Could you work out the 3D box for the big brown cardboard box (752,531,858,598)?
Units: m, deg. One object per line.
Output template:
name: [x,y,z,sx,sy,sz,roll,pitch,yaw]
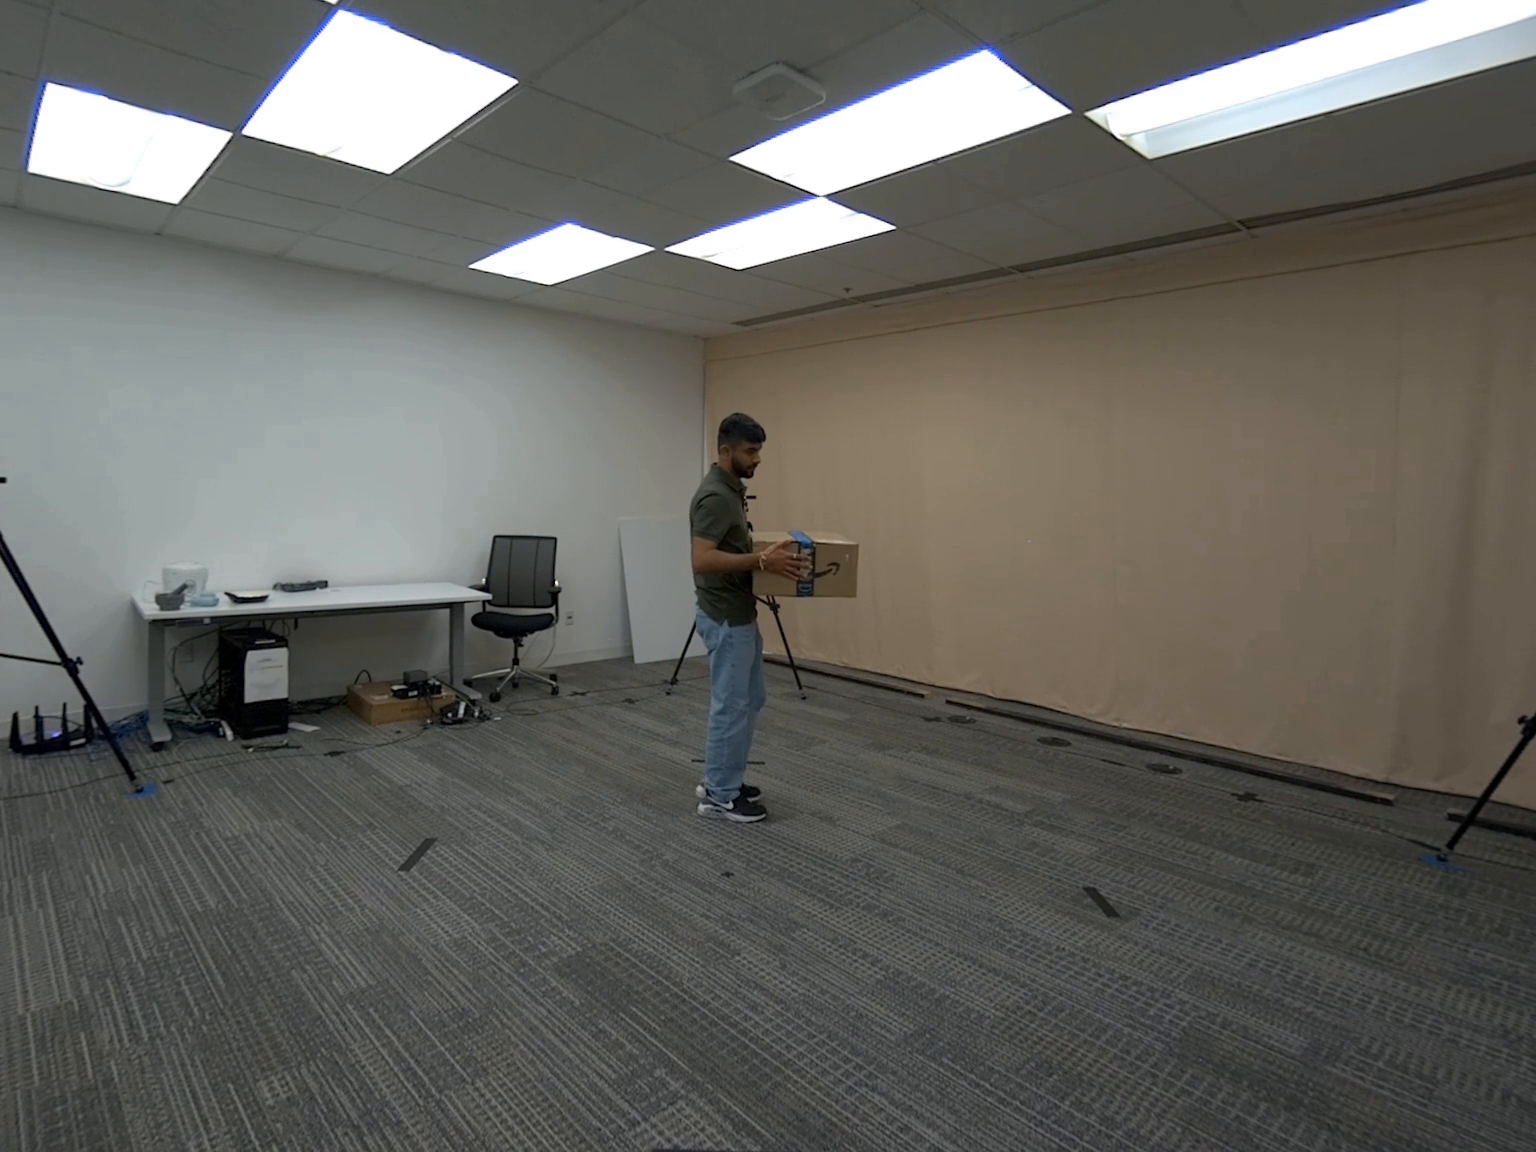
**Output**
big brown cardboard box: [0.137,-0.063,3.619,0.417,0.232,0.592,1,6,-3]
